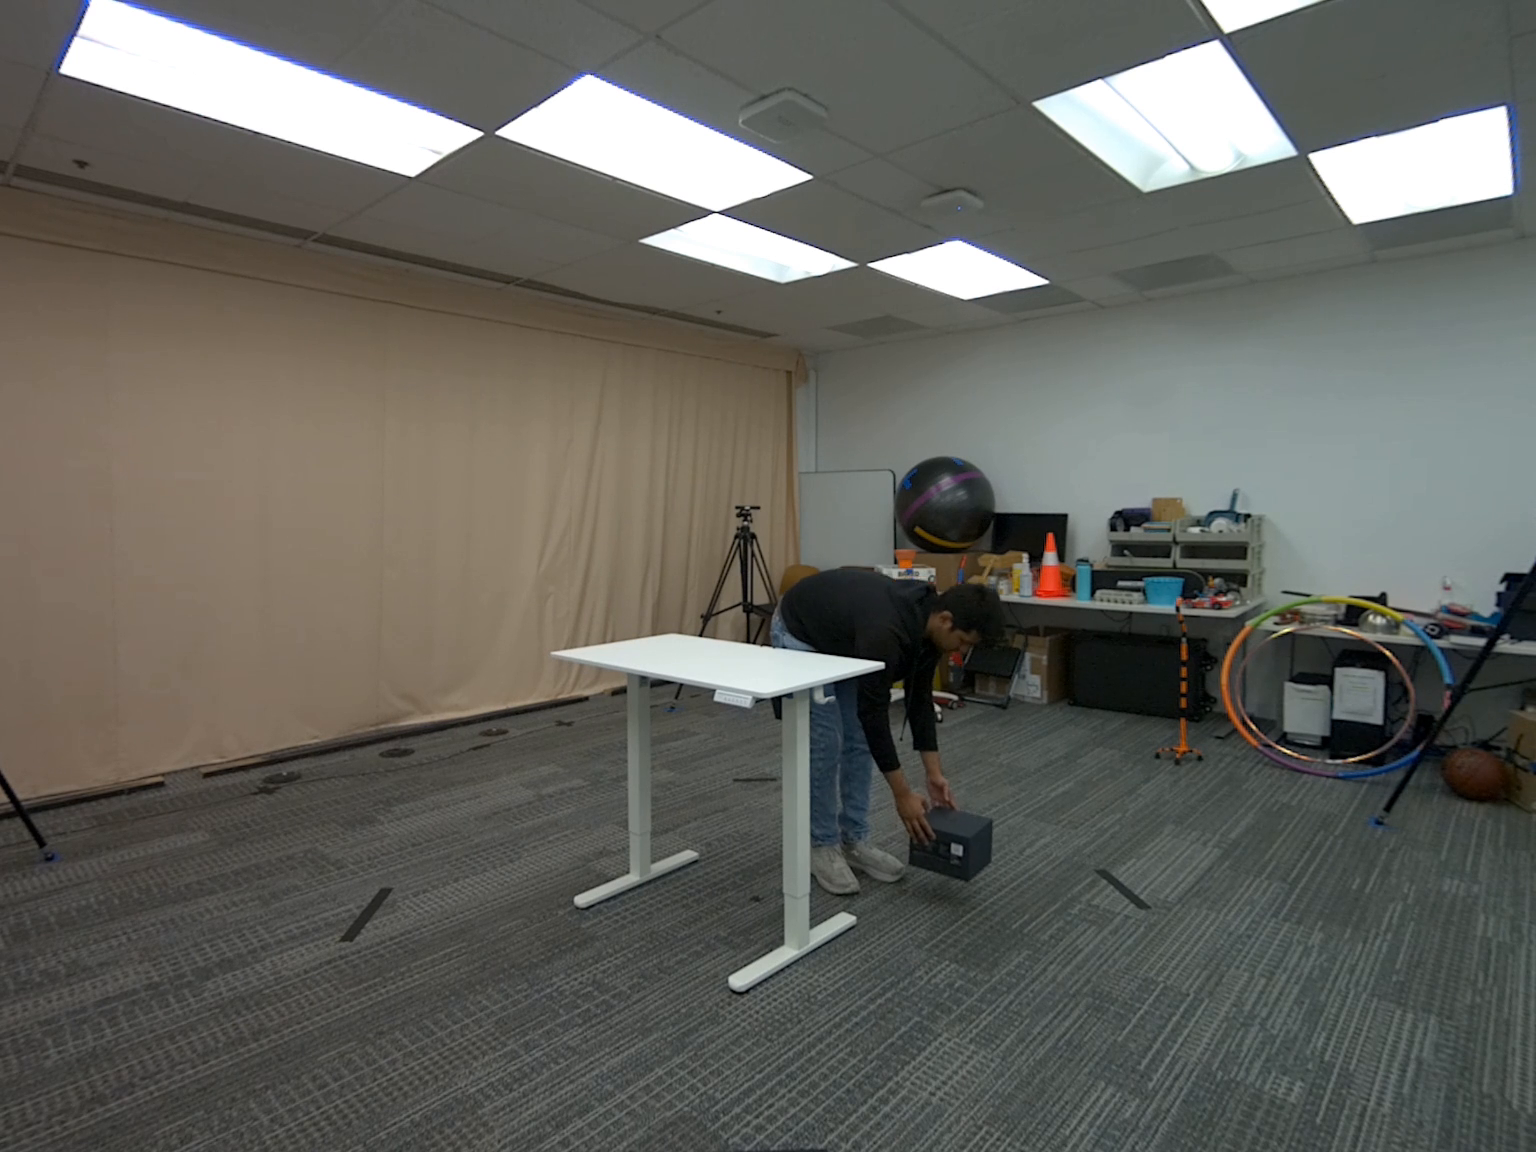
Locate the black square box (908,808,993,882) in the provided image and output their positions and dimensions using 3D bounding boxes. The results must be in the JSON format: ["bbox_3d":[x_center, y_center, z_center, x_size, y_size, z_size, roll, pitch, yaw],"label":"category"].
[{"bbox_3d":[0.657,0.923,2.963,0.224,0.155,0.221,4,5,35],"label":"black square box"}]
